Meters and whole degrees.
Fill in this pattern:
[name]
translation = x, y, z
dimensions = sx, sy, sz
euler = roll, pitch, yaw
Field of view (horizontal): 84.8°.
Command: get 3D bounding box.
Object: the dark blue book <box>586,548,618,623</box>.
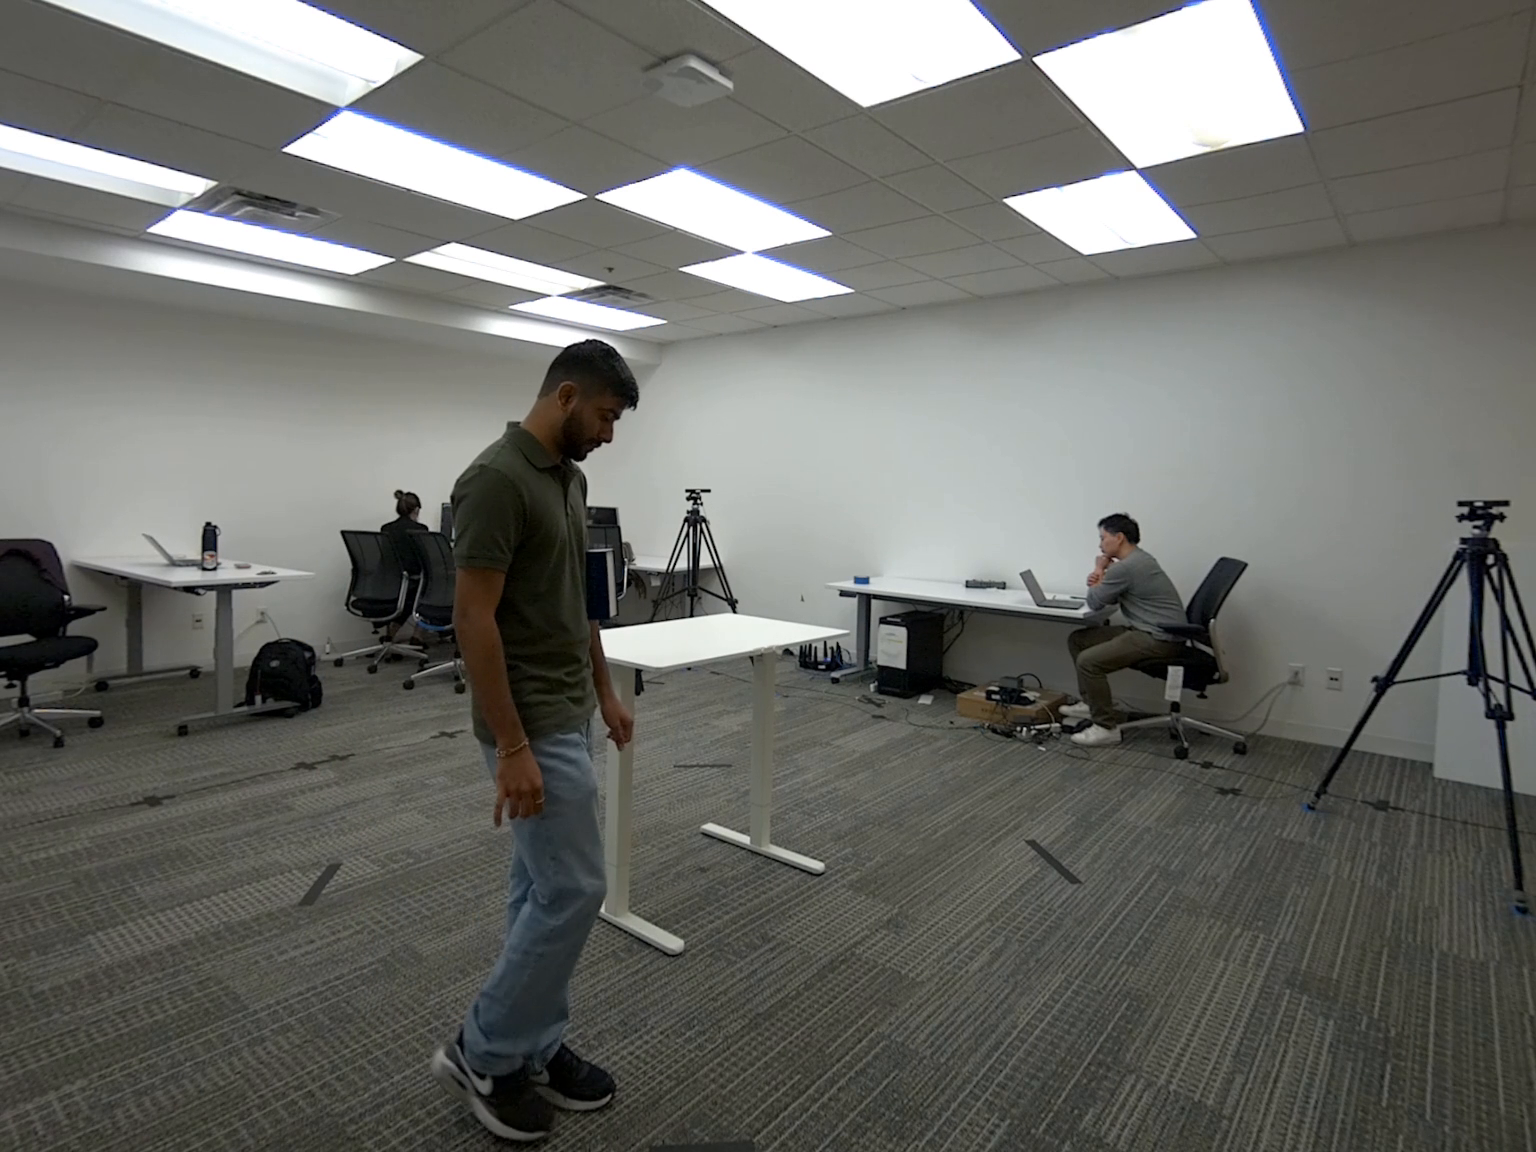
[dark blue book]
translation = -0.487, 0.025, 2.044
dimensions = 0.250, 0.164, 0.044
euler = -3, -2, 21
